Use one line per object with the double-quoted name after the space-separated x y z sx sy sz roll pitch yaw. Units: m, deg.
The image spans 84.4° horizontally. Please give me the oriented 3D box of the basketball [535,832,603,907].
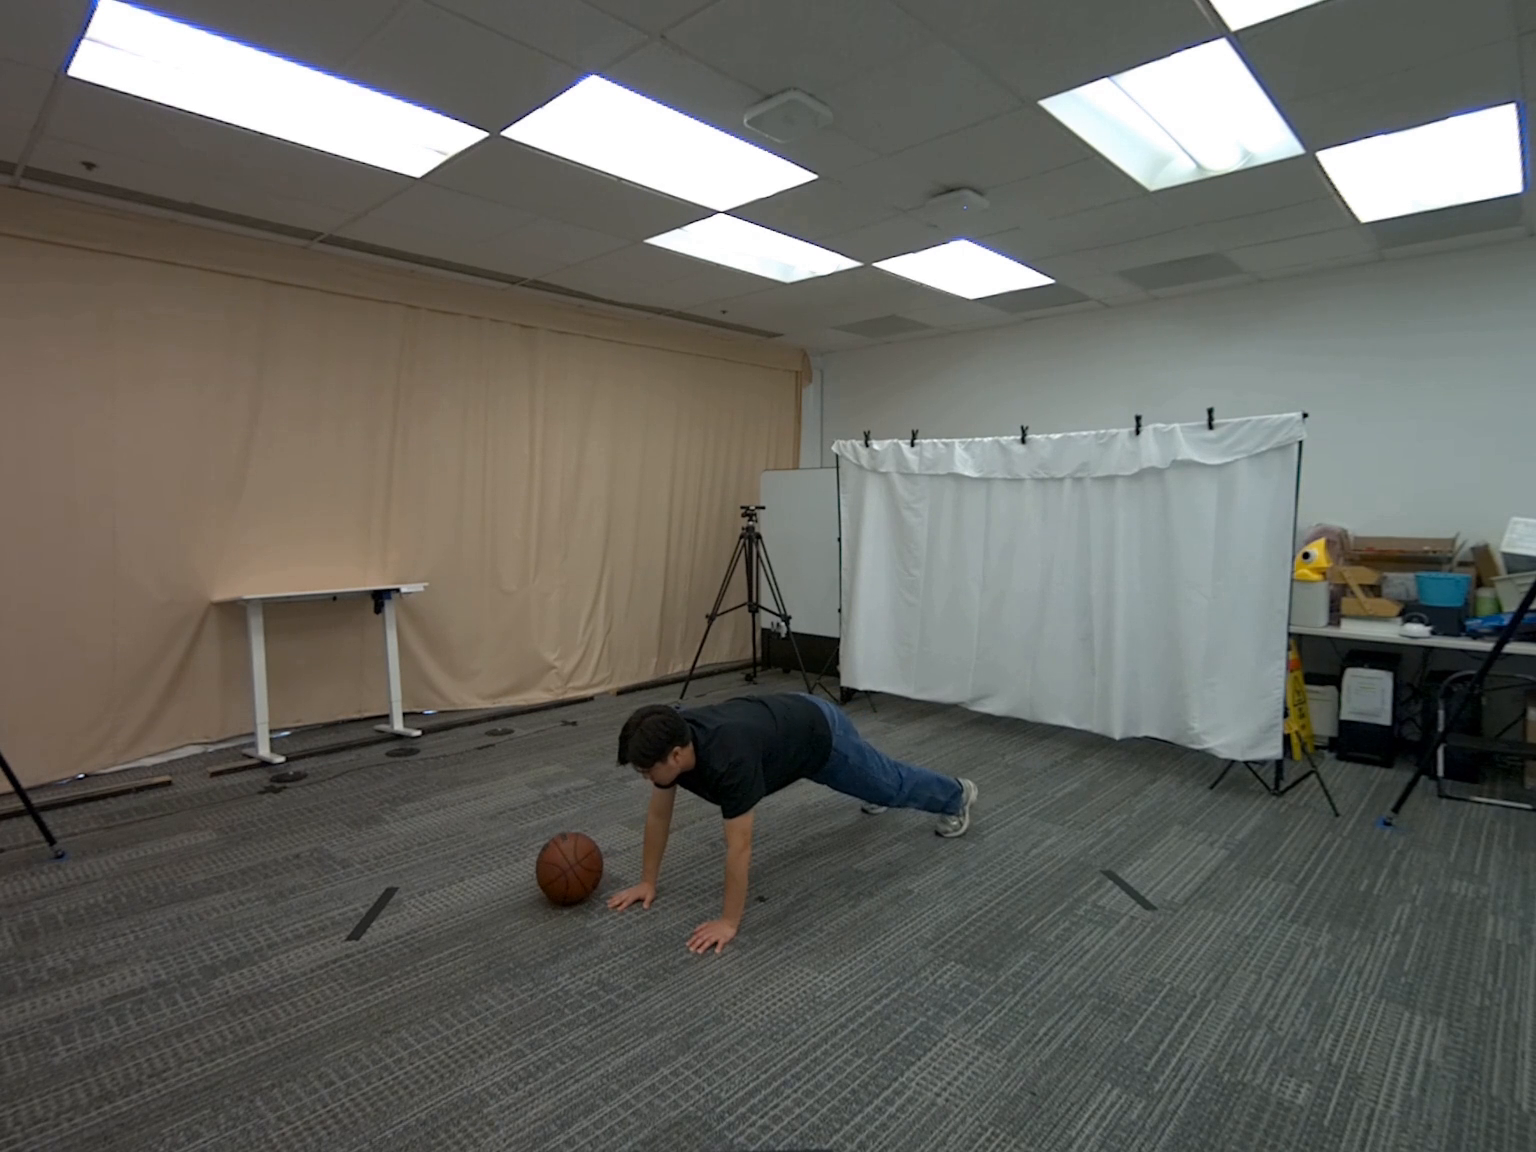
-0.701 1.031 2.981 0.236 0.235 0.237 0 4 -2 "basketball"
